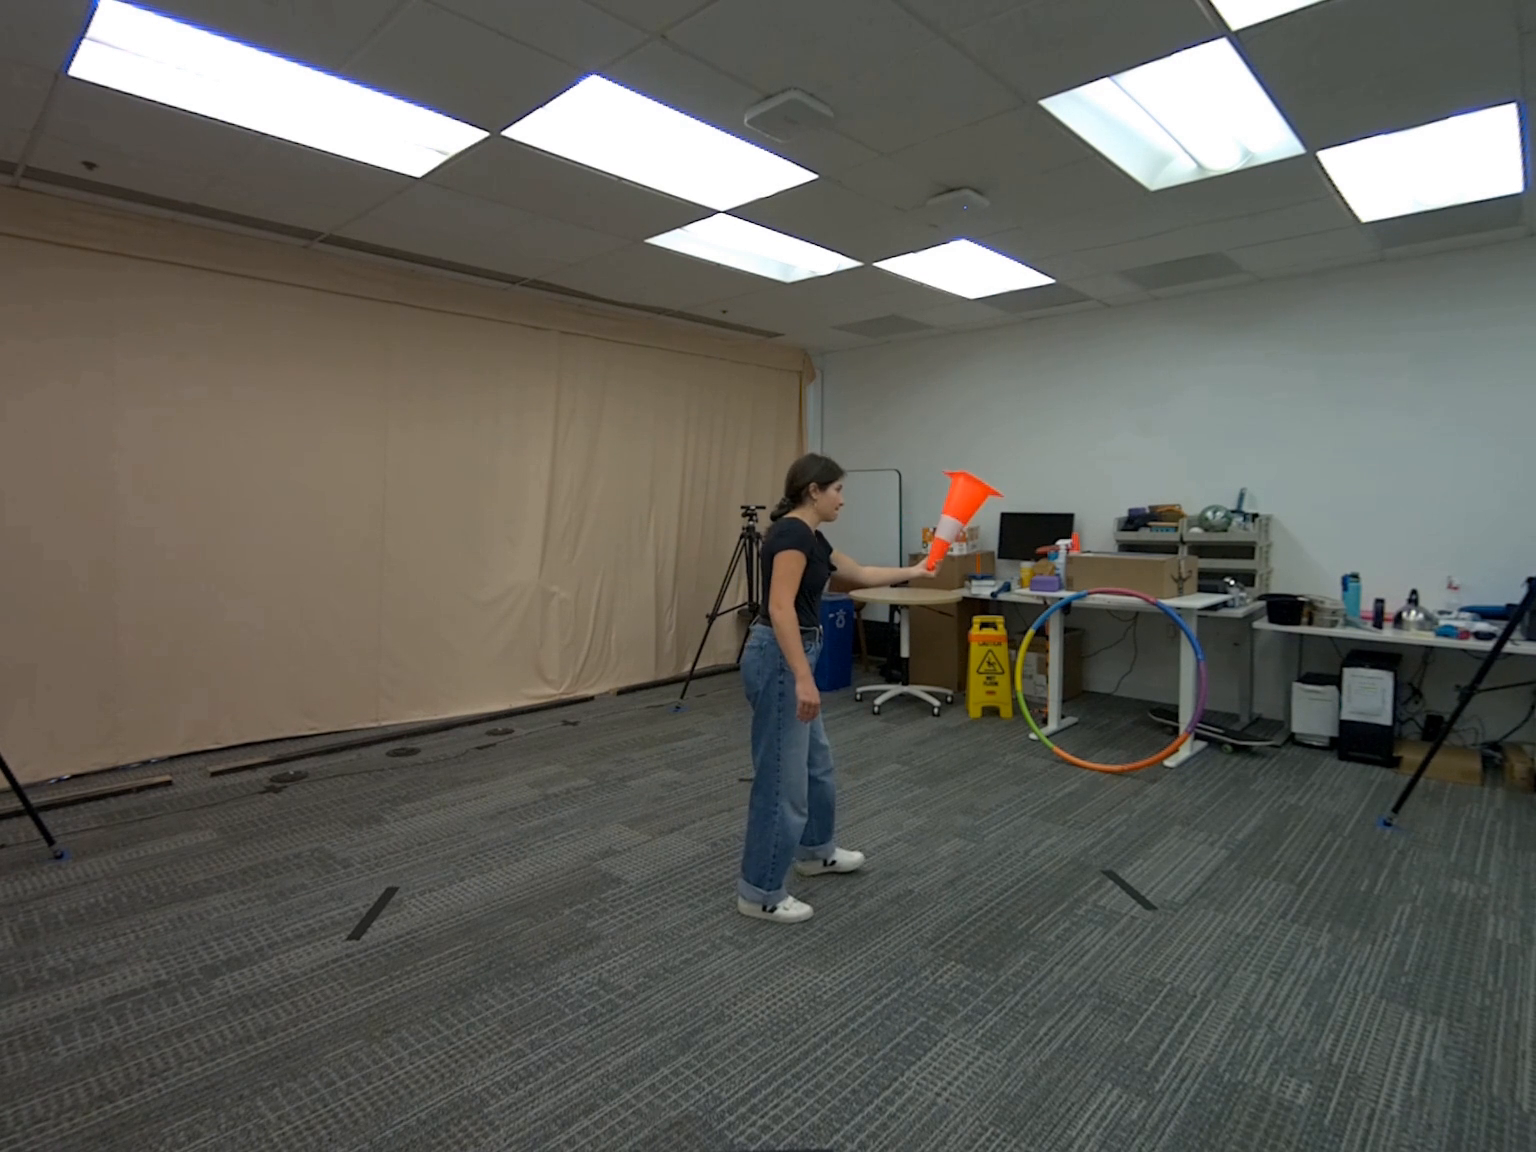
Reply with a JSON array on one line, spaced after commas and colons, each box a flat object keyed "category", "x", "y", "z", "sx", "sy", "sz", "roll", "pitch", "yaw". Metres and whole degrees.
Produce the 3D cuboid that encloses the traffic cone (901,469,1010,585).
[{"category": "traffic cone", "x": 0.720, "y": -0.194, "z": 3.291, "sx": 0.203, "sy": 0.383, "sz": 0.205, "roll": 26, "pitch": 1, "yaw": -7}]
